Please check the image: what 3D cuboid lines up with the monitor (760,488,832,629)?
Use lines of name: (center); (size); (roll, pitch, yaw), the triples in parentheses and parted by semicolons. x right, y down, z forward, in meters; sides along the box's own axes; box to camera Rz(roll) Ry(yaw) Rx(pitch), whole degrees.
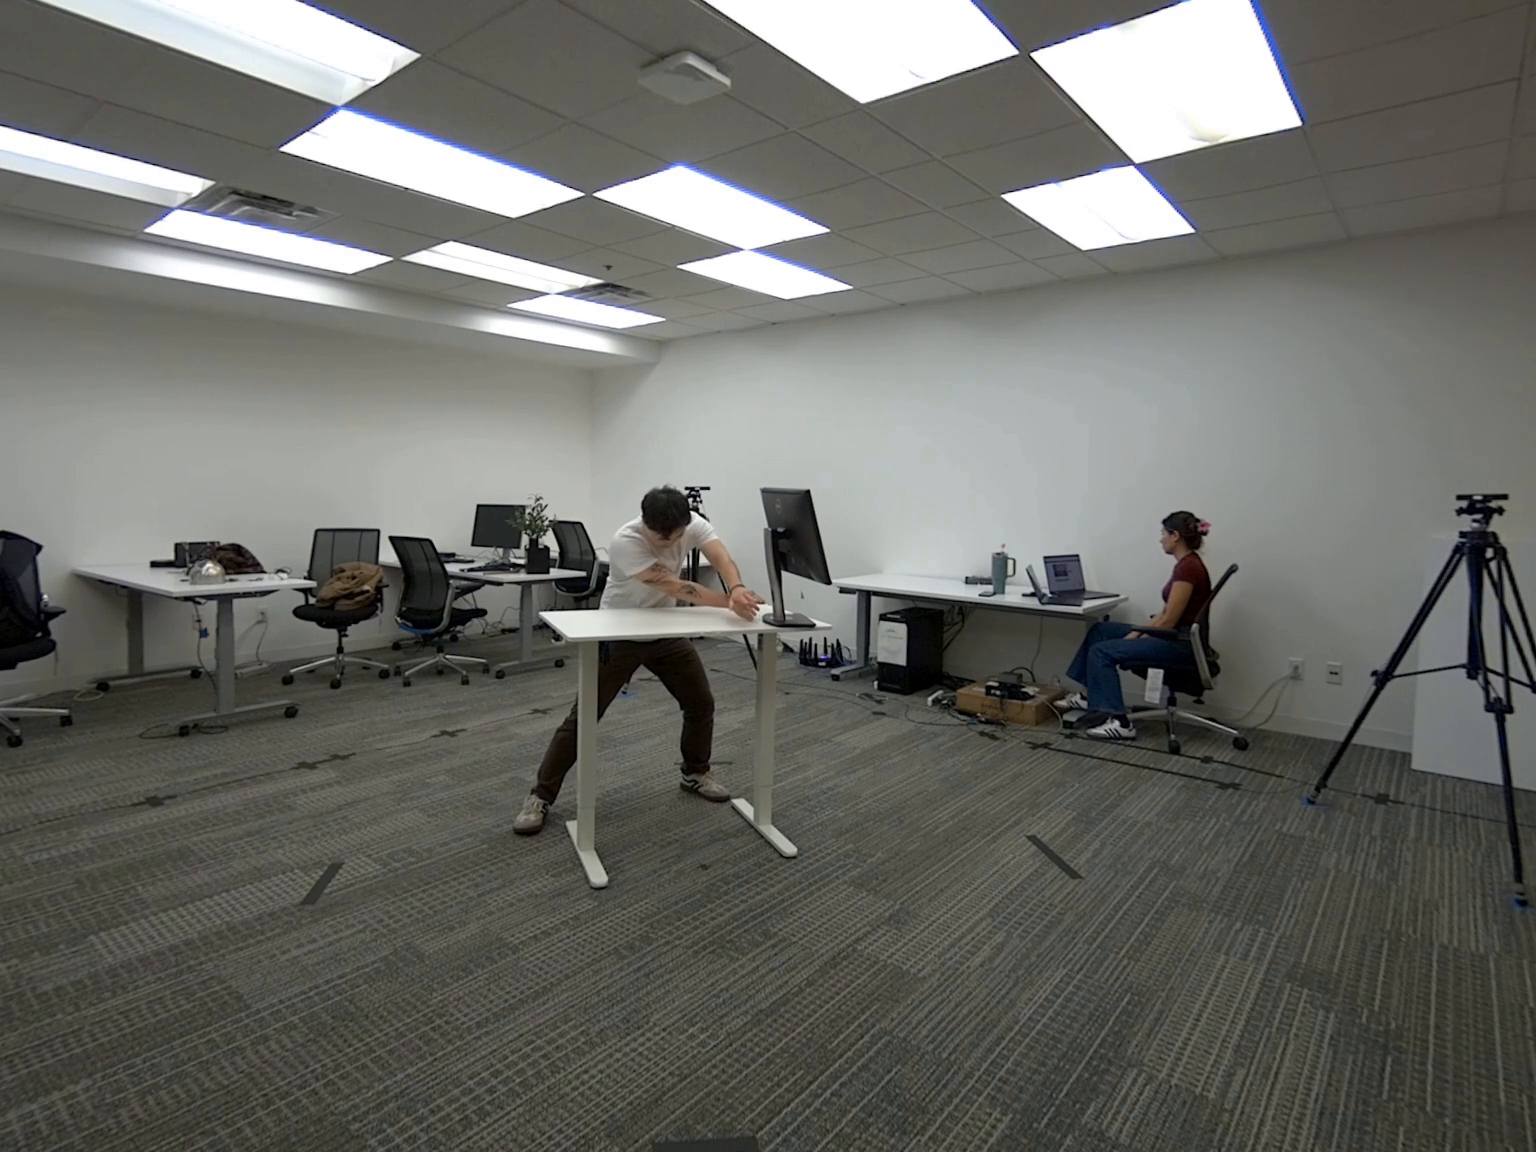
monitor: (0.062, -0.079, 3.257); (0.183, 0.520, 0.552); (-2, 5, -21)
